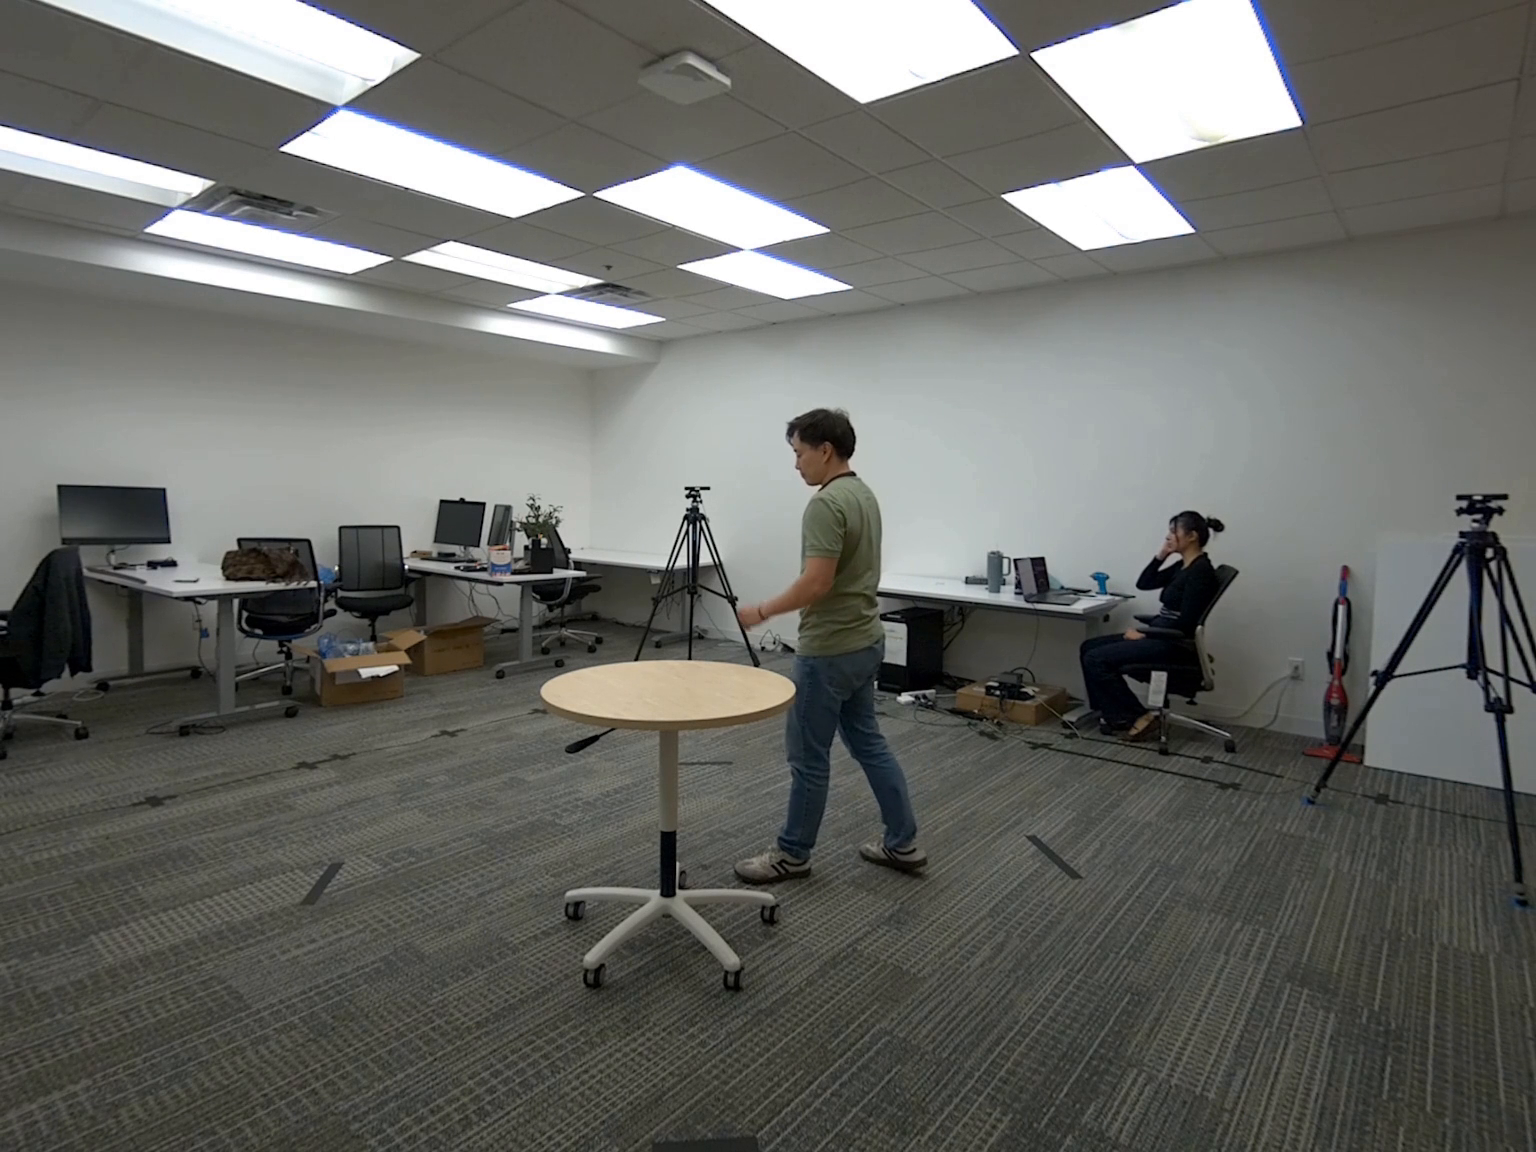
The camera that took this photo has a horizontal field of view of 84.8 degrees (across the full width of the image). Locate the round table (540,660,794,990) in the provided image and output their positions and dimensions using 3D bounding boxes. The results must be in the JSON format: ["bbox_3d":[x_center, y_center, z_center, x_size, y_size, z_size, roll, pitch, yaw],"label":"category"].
[{"bbox_3d":[-0.315,0.727,2.594,0.763,0.791,0.768,0,5,-2],"label":"round table"}]
